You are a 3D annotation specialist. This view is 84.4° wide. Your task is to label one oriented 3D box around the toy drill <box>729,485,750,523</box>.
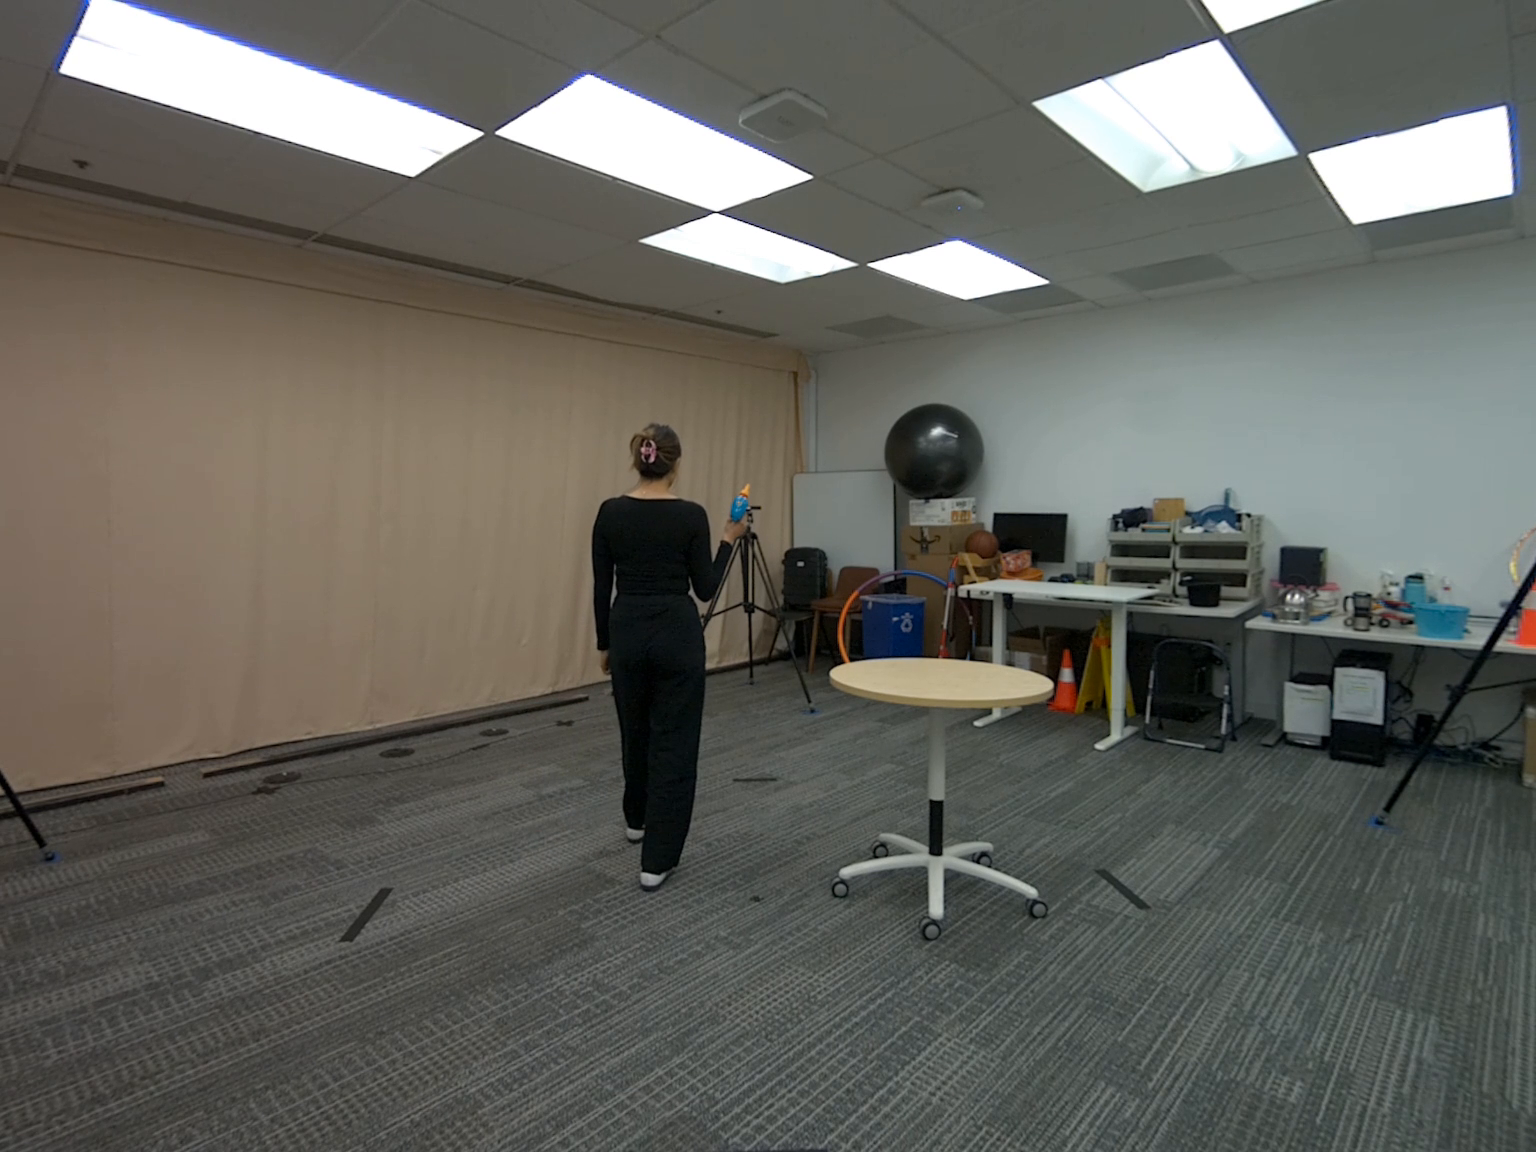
[{"bbox_3d":[-0.105,-0.270,3.292,0.062,0.171,0.143,13,-24,11],"label":"toy drill"}]
